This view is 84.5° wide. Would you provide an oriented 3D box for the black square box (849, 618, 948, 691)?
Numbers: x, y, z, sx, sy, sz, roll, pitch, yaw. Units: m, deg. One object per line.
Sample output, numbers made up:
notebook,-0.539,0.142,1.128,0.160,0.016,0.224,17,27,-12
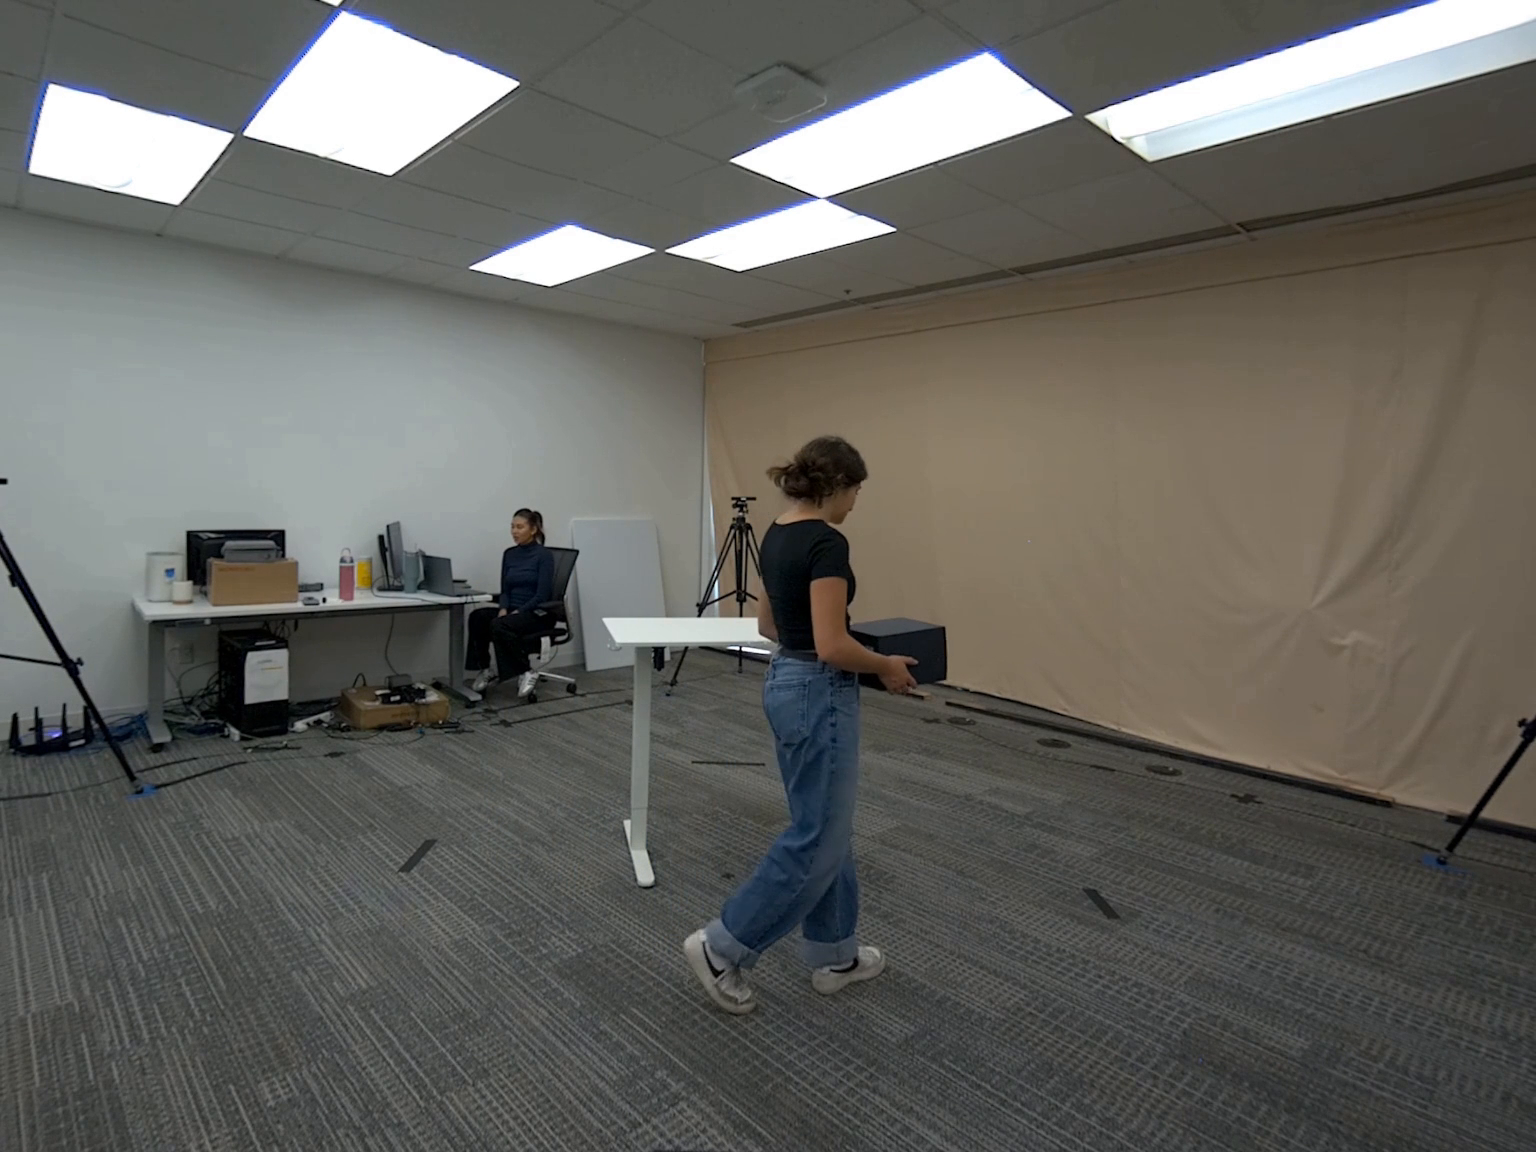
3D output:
black square box,0.345,0.220,2.444,0.224,0.155,0.221,-6,7,-23
